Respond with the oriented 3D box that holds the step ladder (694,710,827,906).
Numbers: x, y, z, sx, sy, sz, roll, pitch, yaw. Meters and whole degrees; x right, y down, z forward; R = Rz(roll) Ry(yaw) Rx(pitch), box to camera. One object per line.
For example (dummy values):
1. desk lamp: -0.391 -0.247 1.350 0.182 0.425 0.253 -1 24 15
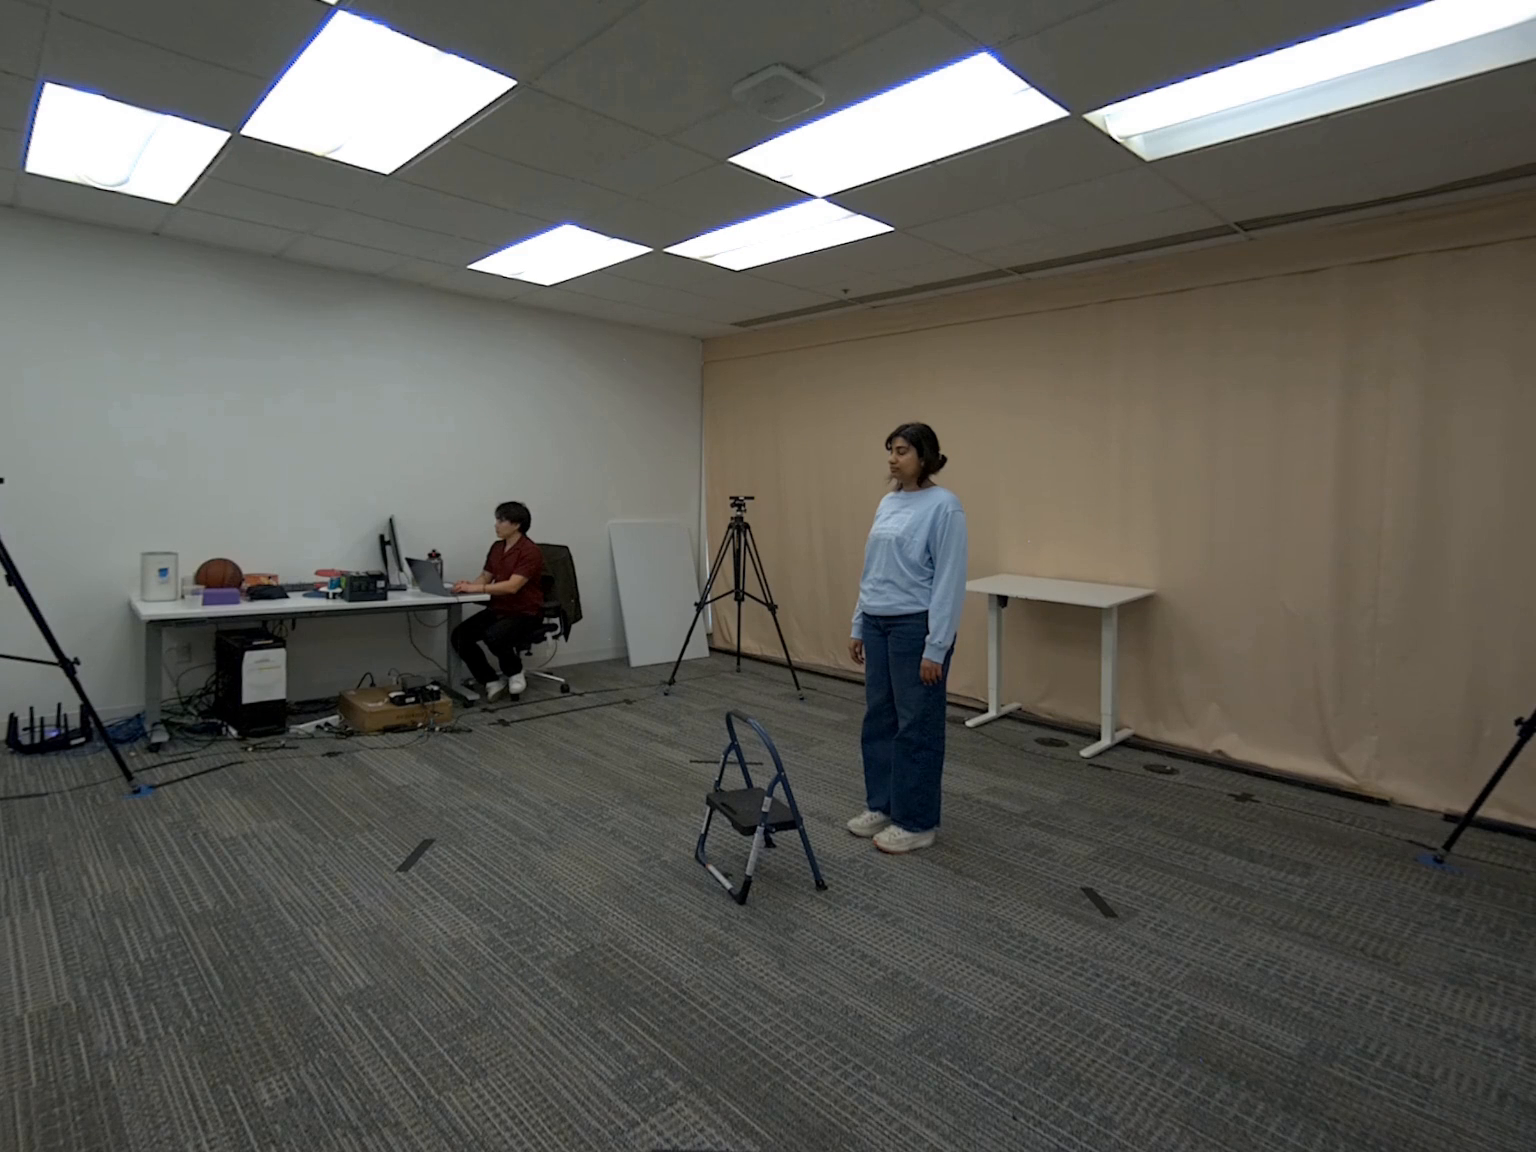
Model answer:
1. step ladder: -0.036 0.799 3.114 0.343 0.605 0.439 0 3 -27
